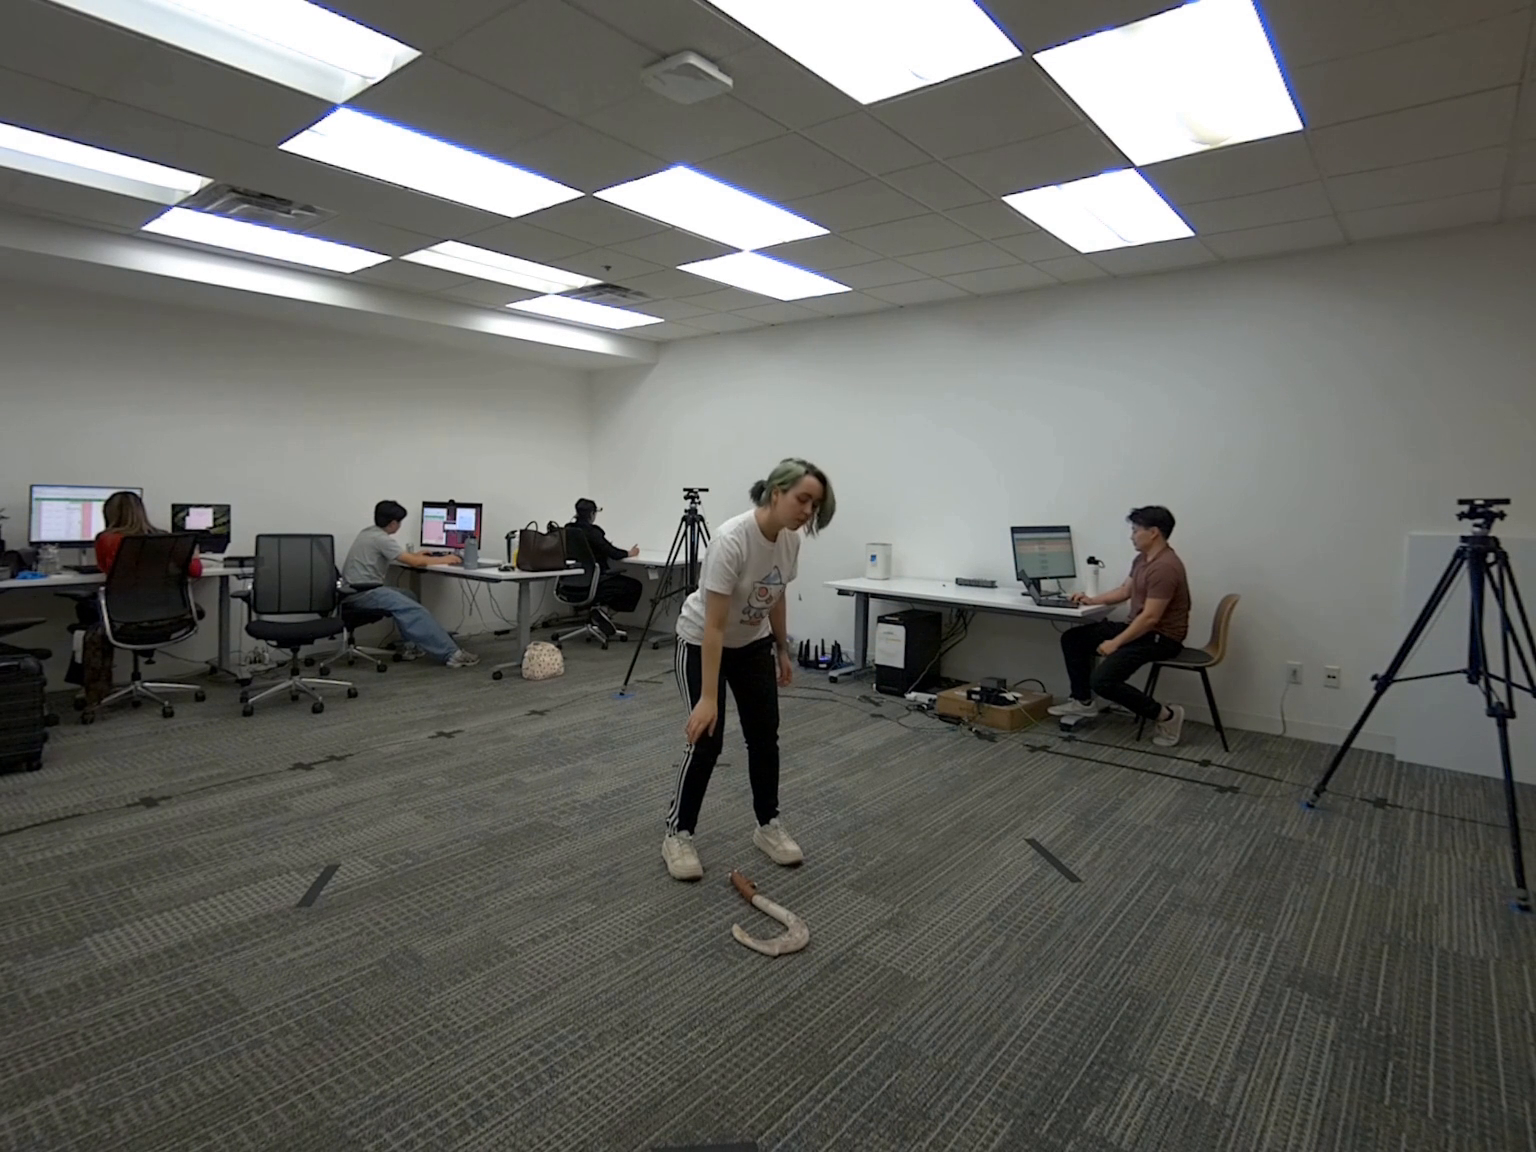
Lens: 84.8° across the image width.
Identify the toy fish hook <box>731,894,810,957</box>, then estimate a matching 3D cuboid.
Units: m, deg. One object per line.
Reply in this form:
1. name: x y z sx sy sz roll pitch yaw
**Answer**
1. toy fish hook: -0.063 1.083 2.763 0.219 0.048 0.521 -1 5 -27
